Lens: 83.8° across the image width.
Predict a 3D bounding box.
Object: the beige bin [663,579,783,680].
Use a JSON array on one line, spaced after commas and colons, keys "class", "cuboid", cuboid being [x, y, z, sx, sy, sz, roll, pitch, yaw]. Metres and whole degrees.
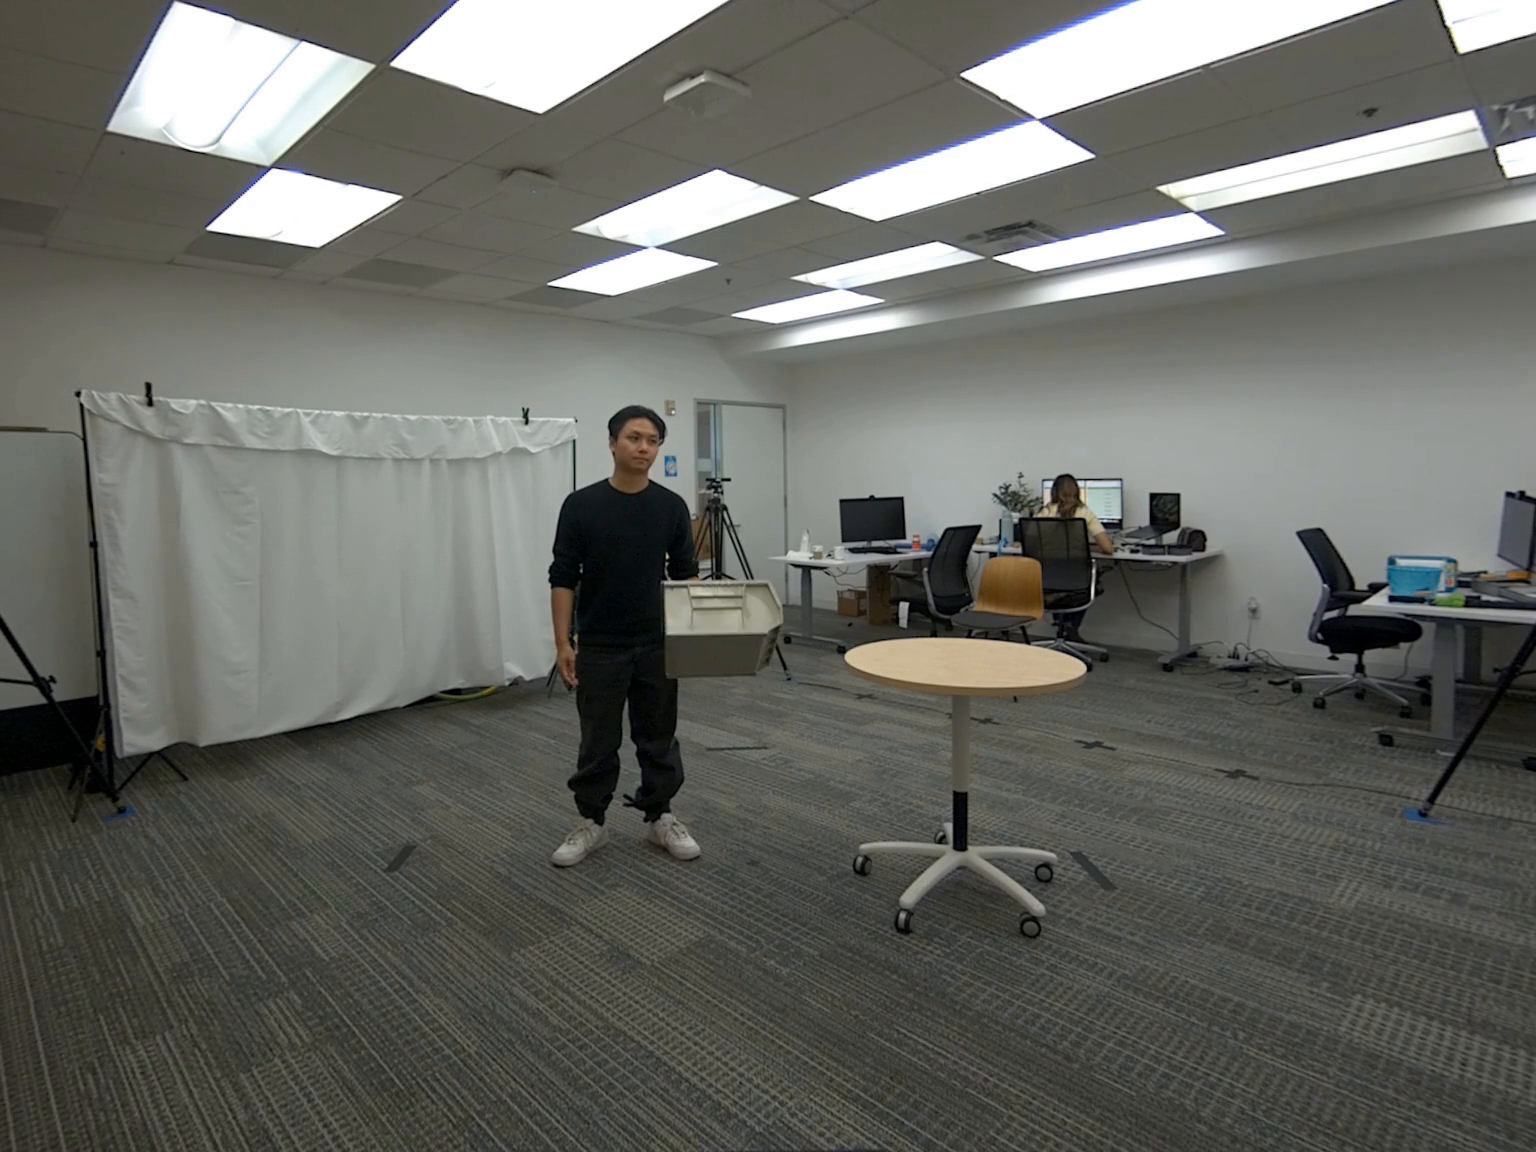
[{"class": "beige bin", "cuboid": [-0.163, 0.182, 2.837, 0.375, 0.193, 0.415, -1, -25, -6]}]
